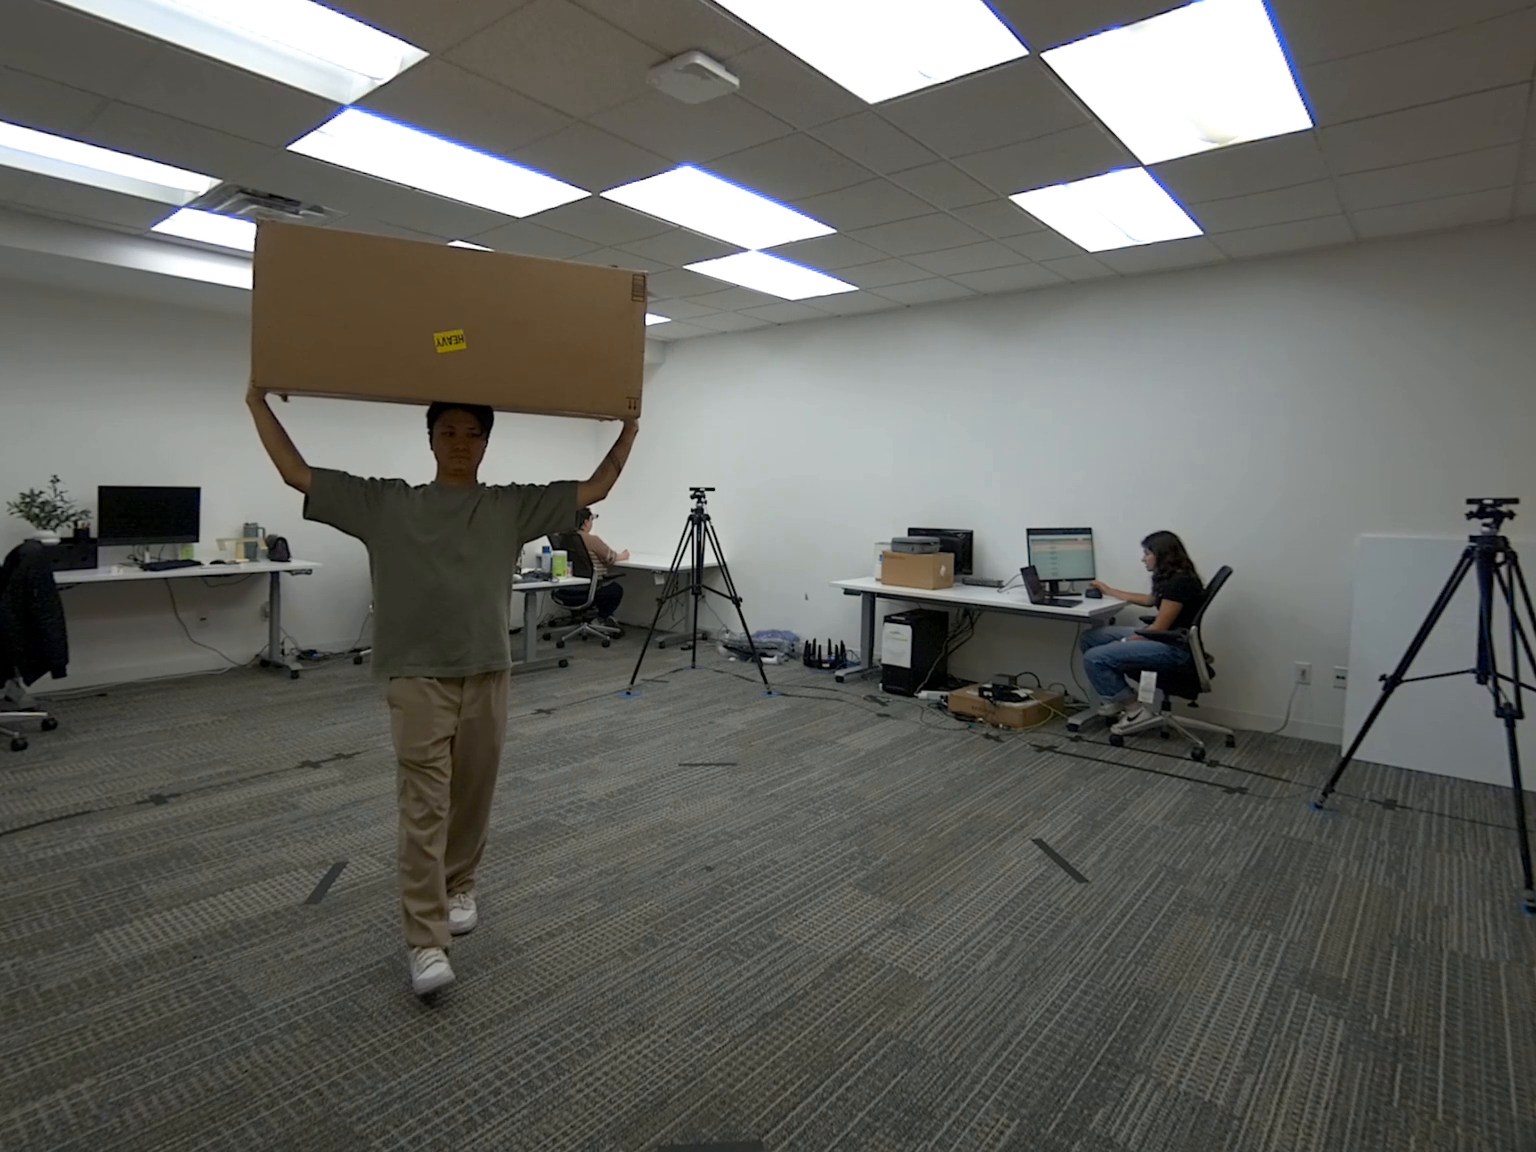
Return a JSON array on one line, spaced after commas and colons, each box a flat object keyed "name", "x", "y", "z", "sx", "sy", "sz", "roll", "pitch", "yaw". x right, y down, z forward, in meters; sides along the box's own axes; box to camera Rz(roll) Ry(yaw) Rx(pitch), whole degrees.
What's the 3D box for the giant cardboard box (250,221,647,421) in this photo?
[{"name": "giant cardboard box", "x": -0.946, "y": -0.722, "z": 2.572, "sx": 1.004, "sy": 0.424, "sz": 0.593, "roll": 1, "pitch": 8, "yaw": -21}]
